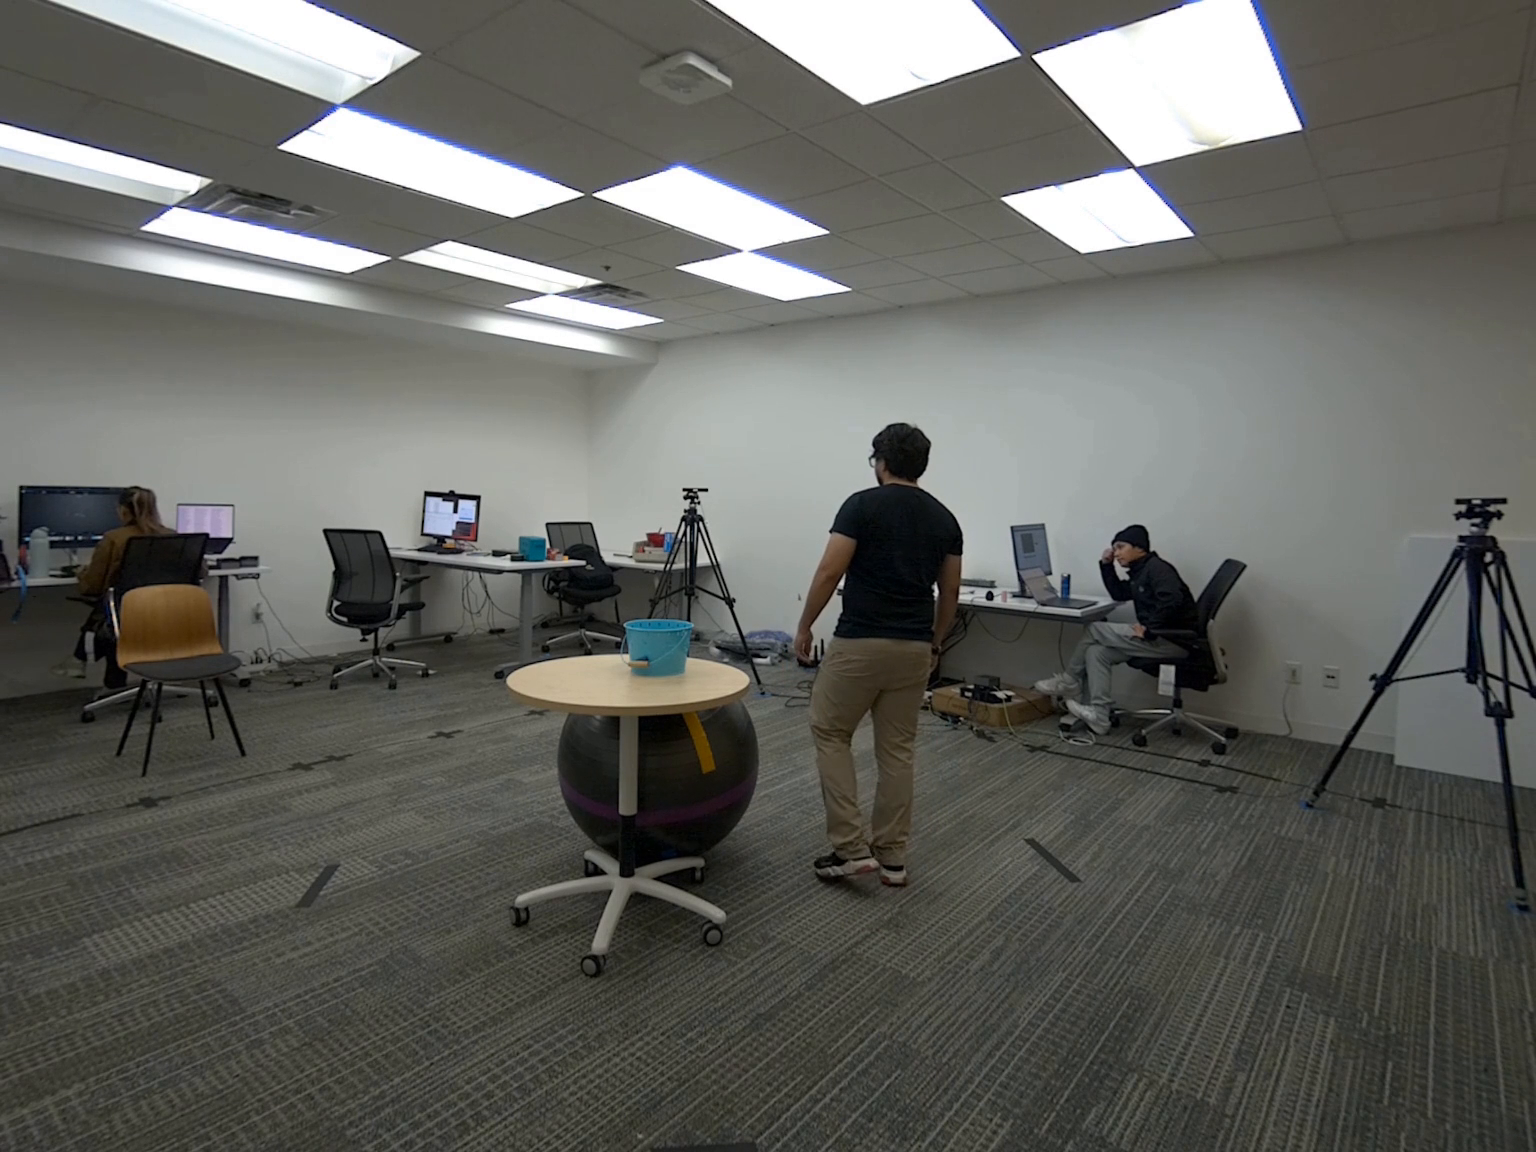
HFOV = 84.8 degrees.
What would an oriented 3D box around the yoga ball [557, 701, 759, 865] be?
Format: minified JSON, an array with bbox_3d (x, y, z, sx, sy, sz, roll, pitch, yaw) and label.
[{"bbox_3d":[-0.419,0.686,3.215,0.757,0.755,0.762,1,4,-2],"label":"yoga ball"}]
